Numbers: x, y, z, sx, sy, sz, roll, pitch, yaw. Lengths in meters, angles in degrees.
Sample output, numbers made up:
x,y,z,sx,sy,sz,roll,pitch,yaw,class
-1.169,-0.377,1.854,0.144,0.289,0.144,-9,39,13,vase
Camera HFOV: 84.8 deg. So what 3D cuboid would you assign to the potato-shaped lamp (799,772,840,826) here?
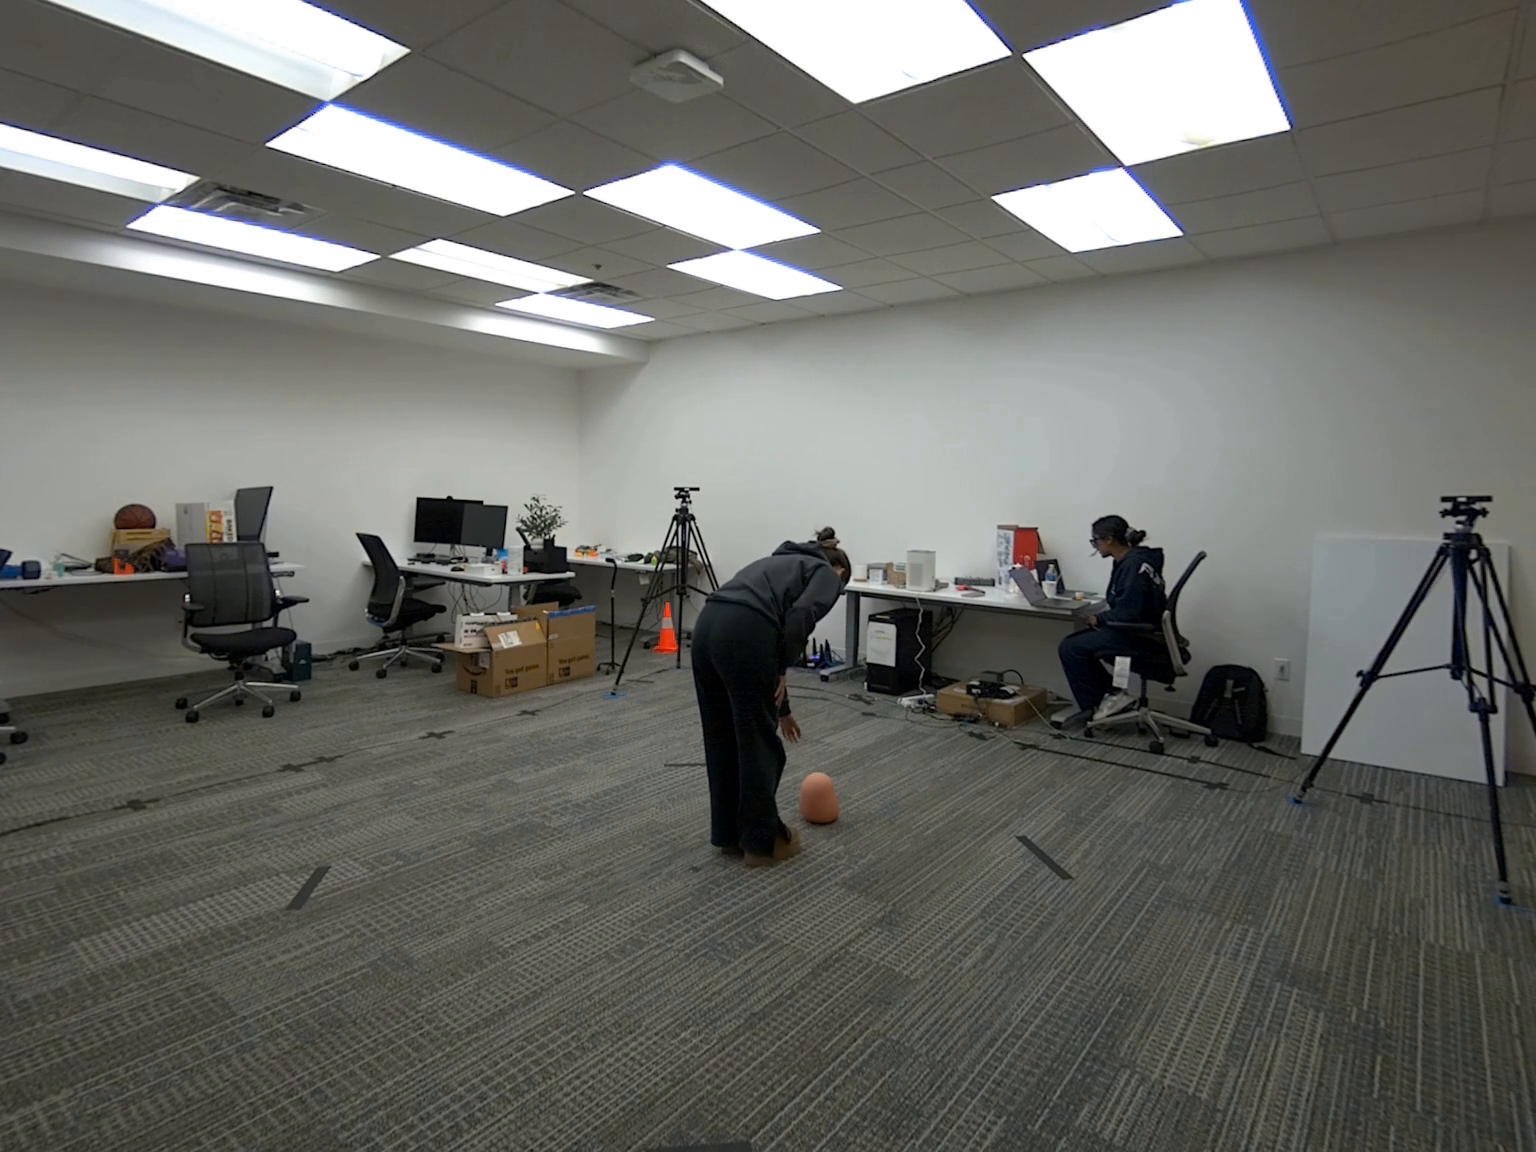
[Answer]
x,y,z,sx,sy,sz,roll,pitch,yaw,class
0.217,0.929,3.598,0.166,0.197,0.170,0,5,-41,potato-shaped lamp
